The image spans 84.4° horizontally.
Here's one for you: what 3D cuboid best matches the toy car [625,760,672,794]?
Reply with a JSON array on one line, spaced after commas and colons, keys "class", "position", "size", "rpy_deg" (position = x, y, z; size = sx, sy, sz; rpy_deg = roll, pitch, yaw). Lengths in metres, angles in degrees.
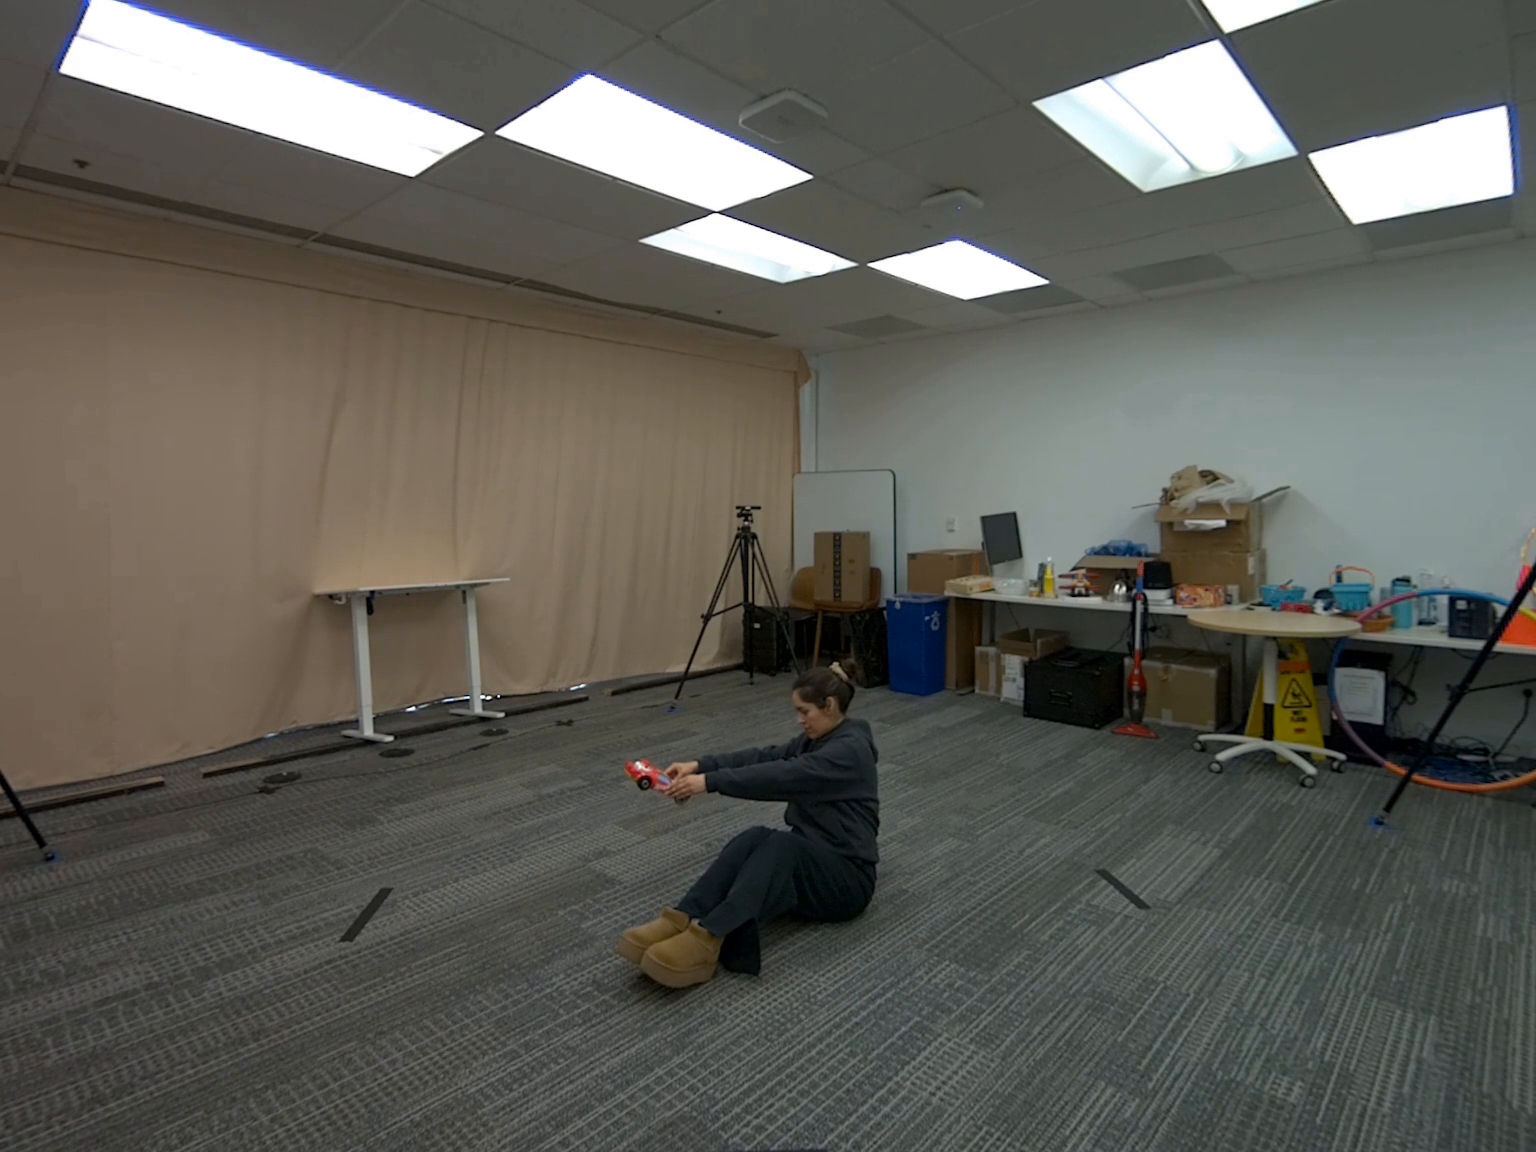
[{"class": "toy car", "position": [-0.370, 0.711, 2.890], "size": [0.250, 0.083, 0.133], "rpy_deg": [41, -12, -16]}]
